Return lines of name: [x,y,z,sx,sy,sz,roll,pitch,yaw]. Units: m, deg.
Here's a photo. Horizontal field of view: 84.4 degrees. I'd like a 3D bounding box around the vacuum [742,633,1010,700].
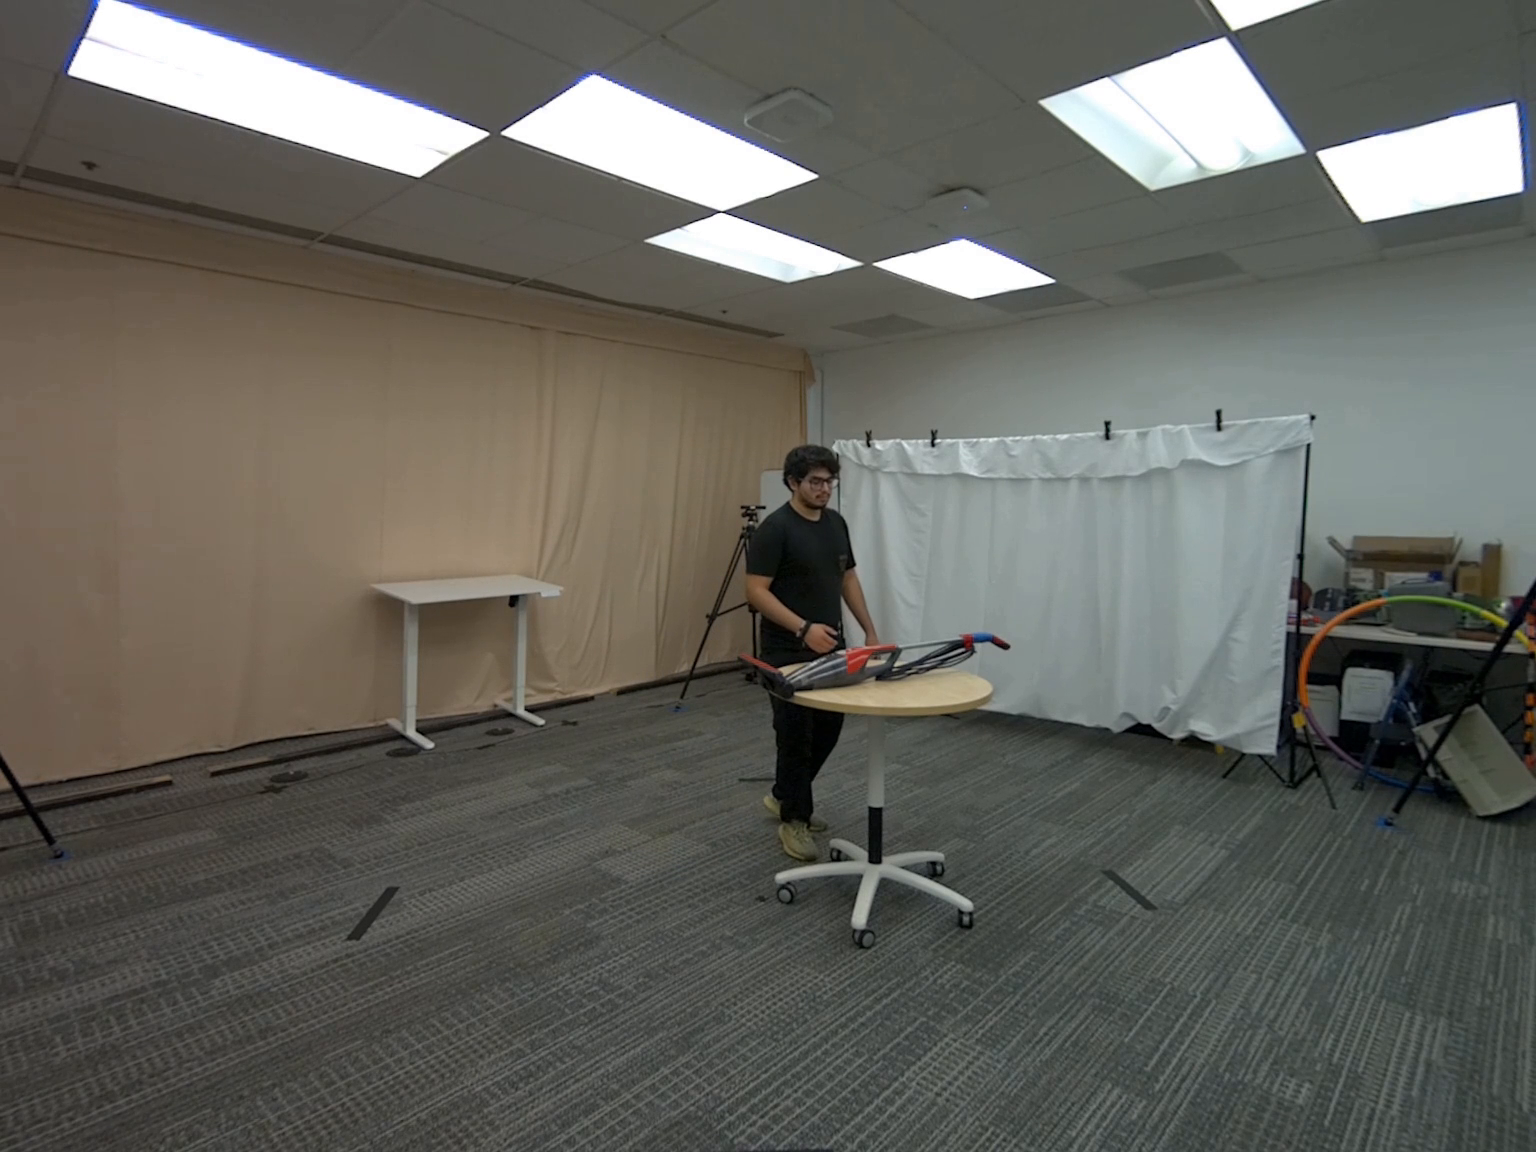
vacuum: [0.460,0.308,2.955,1.023,0.143,0.260,-4,12,-28]
